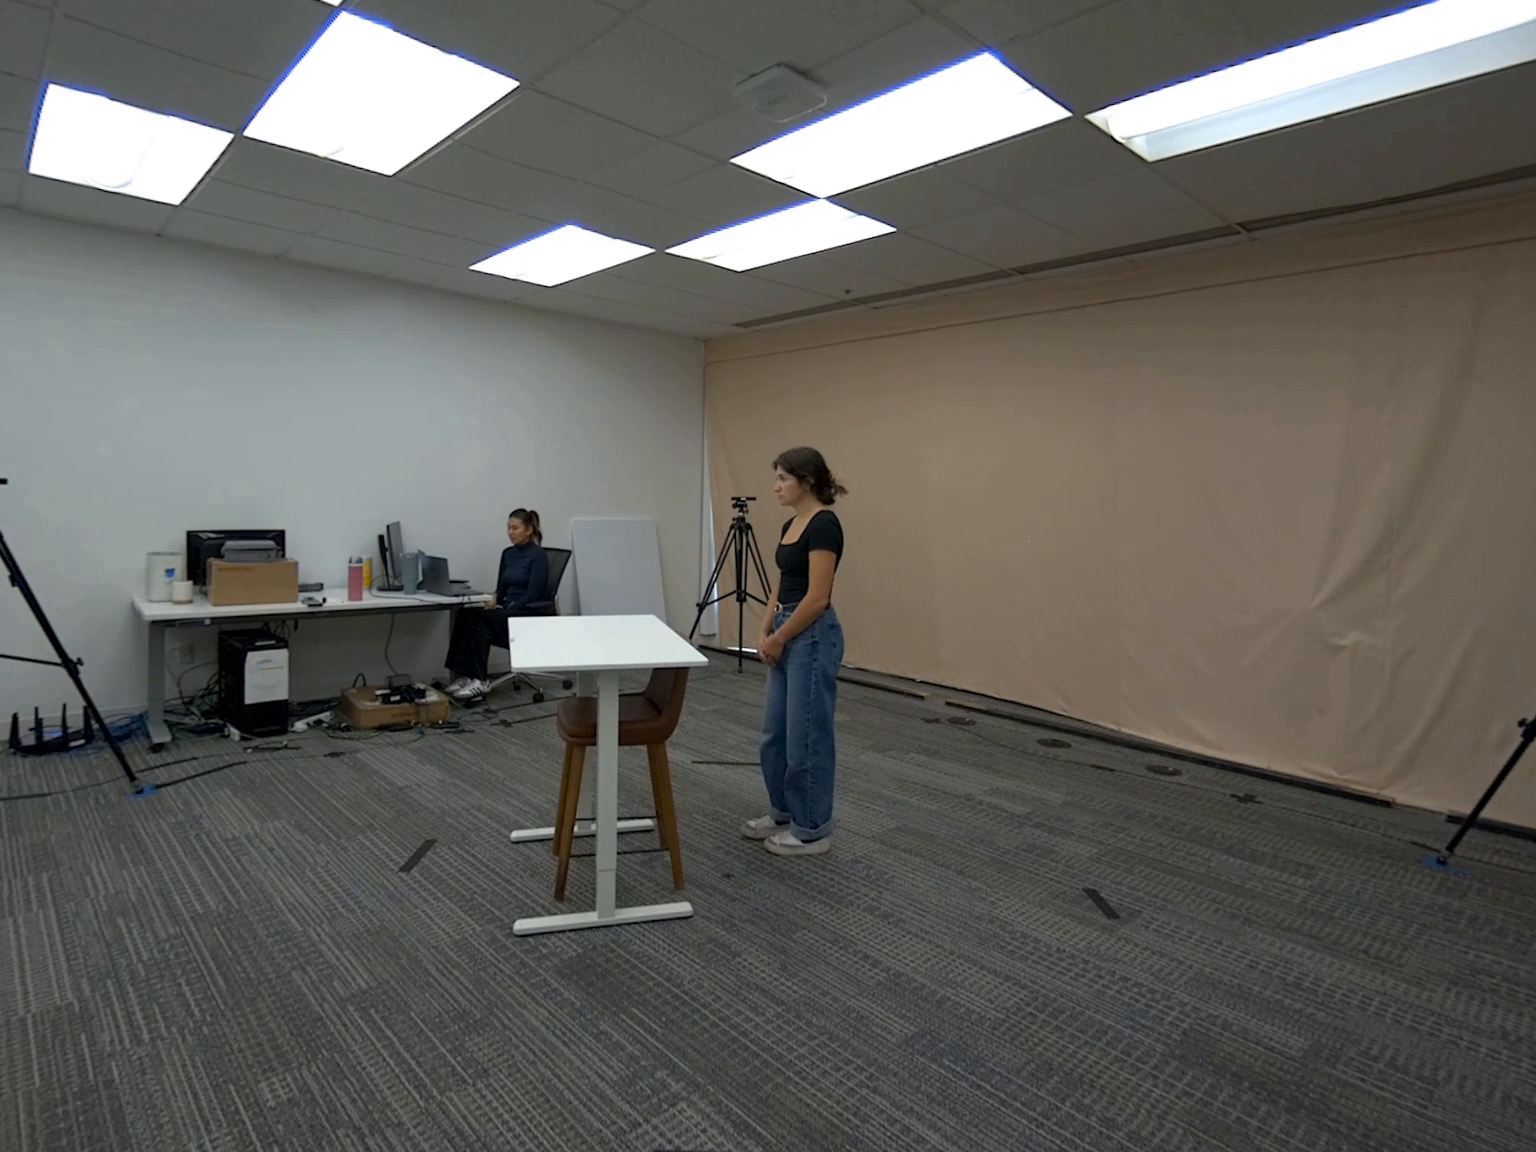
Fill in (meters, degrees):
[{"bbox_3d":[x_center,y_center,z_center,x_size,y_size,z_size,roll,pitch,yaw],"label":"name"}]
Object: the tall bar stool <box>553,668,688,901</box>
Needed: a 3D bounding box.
[{"bbox_3d":[-0.546,0.668,3.094,0.462,0.888,0.462,3,3,-14],"label":"tall bar stool"}]
